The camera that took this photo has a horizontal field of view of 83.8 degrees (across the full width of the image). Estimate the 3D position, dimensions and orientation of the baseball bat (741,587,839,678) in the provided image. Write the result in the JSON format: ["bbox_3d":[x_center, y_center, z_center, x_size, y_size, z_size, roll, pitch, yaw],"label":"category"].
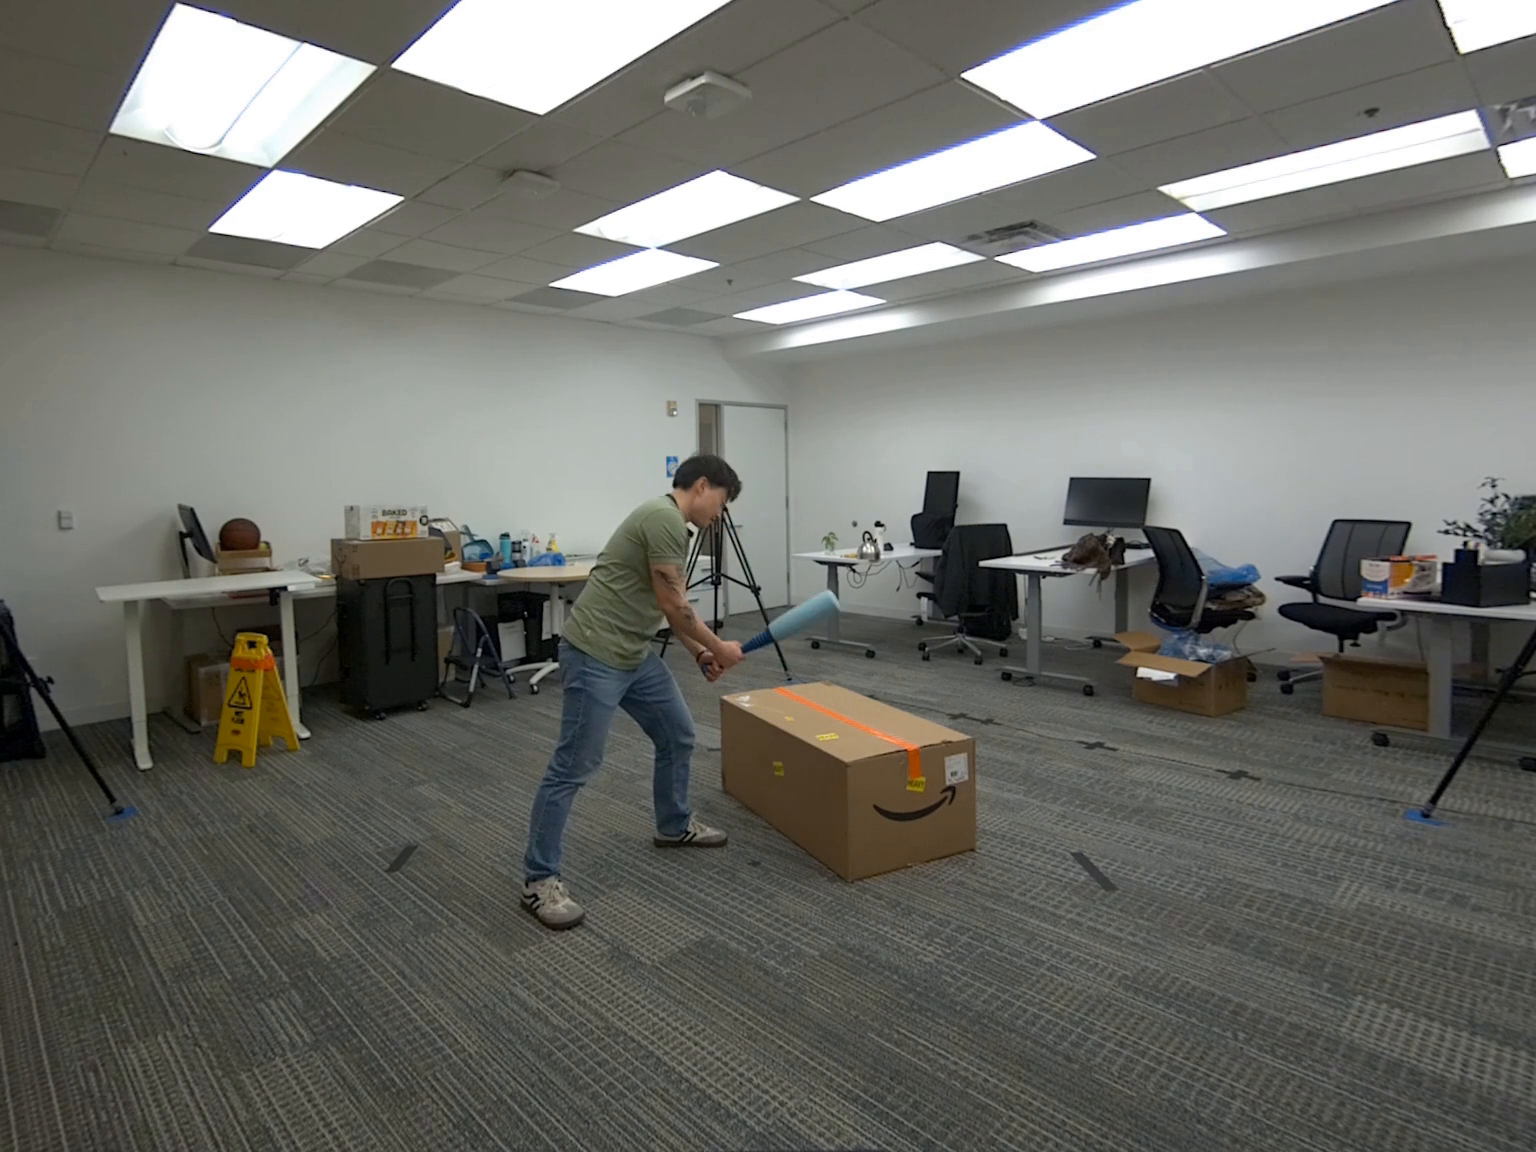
[{"bbox_3d":[-0.023,0.208,2.951,0.545,0.089,0.088,-30,-1,12],"label":"baseball bat"}]
